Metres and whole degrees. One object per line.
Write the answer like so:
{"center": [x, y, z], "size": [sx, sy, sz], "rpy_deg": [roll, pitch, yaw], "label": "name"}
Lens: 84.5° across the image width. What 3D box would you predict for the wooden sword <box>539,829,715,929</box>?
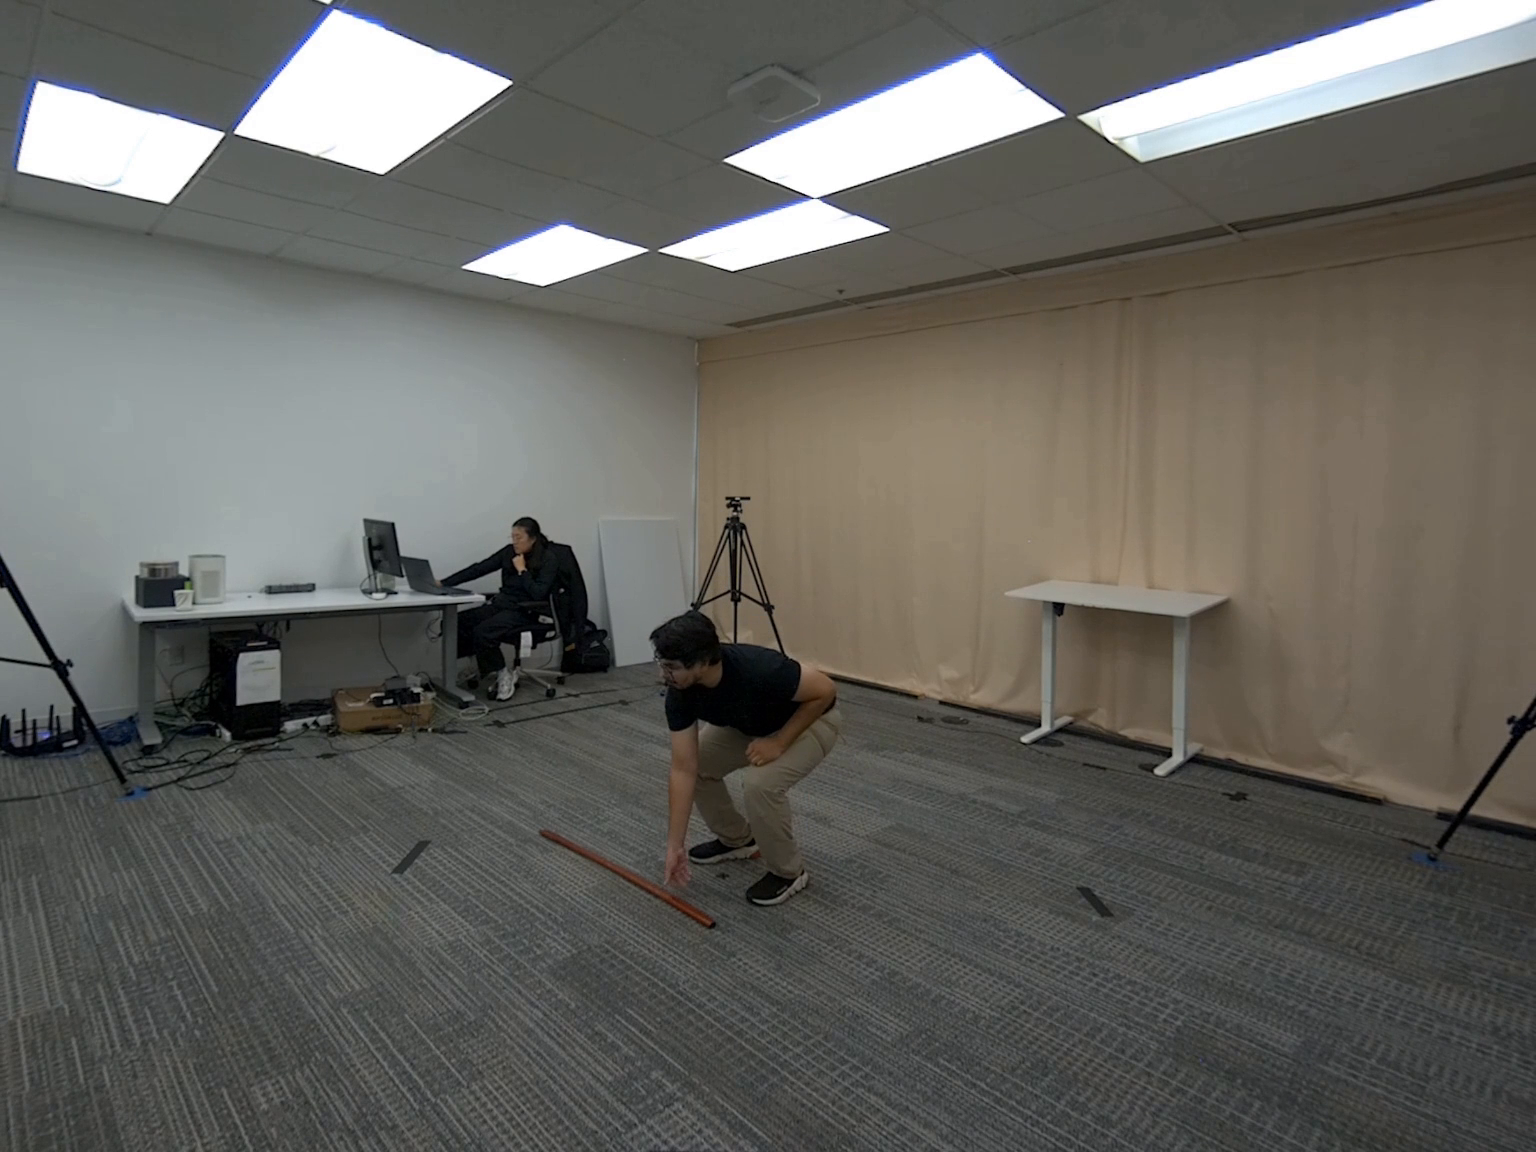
{"center": [-0.539, 1.078, 3.083], "size": [1.051, 0.024, 0.050], "rpy_deg": [6, 7, 43], "label": "wooden sword"}
